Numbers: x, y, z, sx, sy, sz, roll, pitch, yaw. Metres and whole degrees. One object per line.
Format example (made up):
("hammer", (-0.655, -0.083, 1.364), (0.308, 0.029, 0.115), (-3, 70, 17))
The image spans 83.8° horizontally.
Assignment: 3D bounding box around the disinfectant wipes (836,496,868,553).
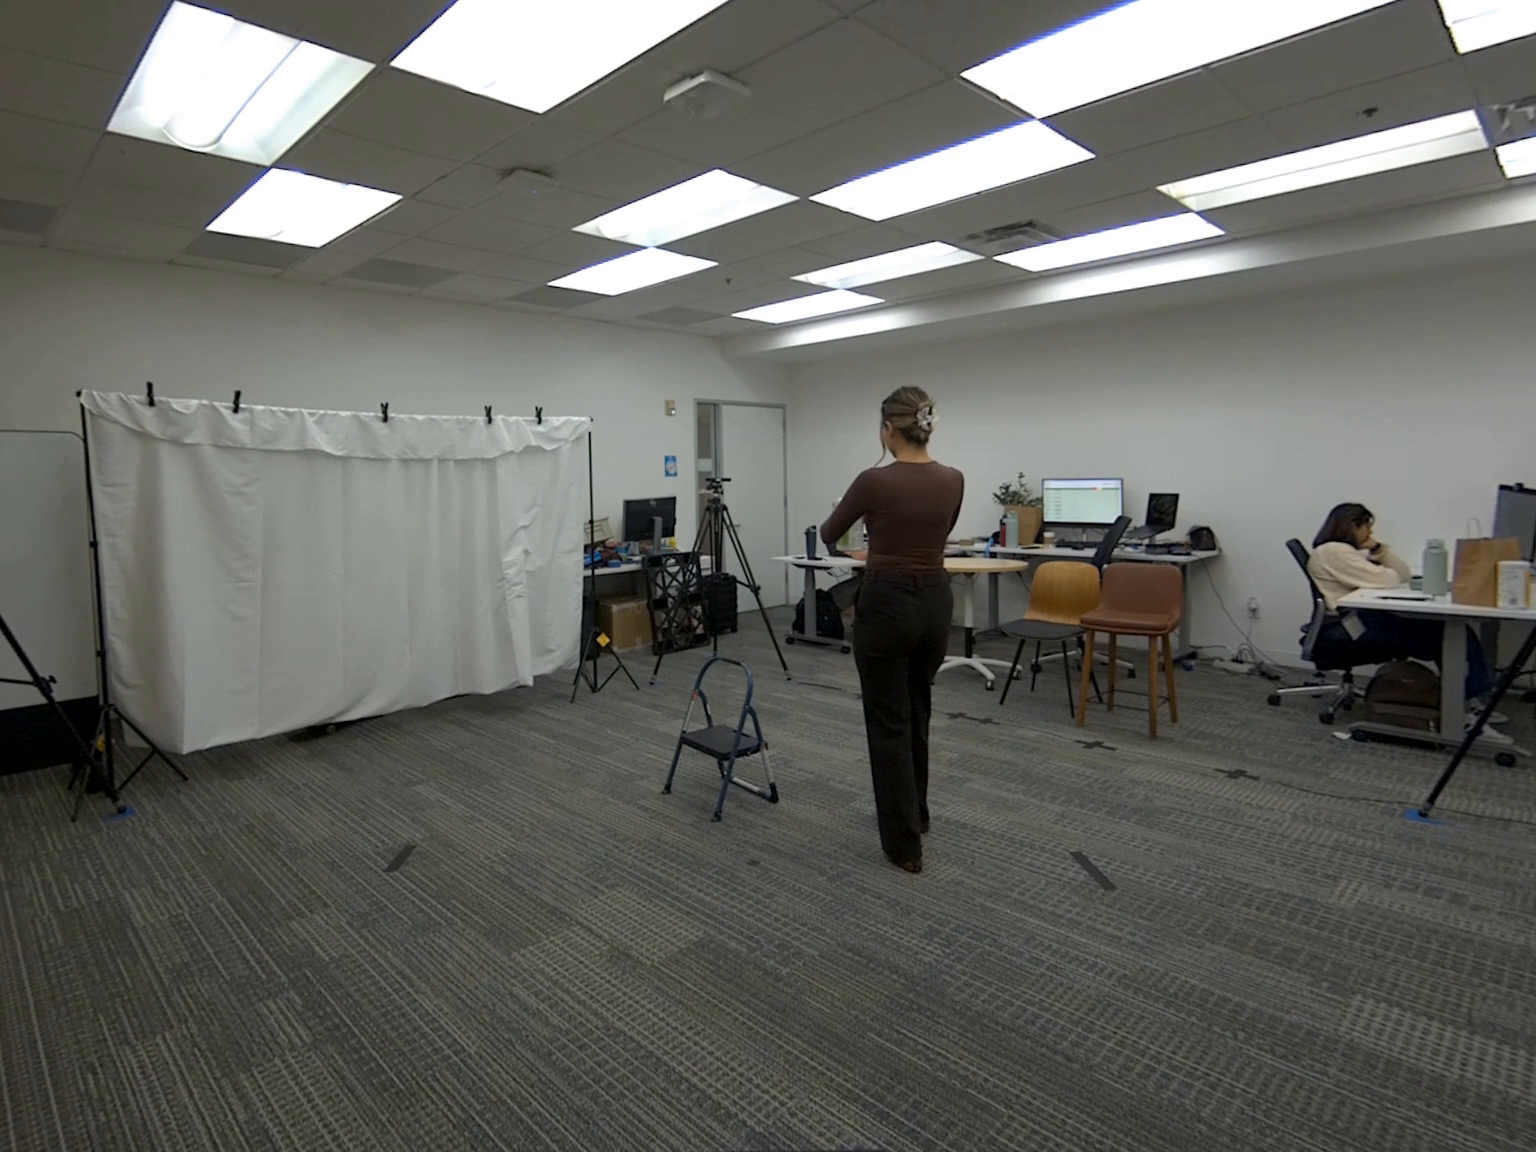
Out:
("disinfectant wipes", (0.339, -0.212, 3.486), (0.118, 0.216, 0.118), (2, 6, -2))
